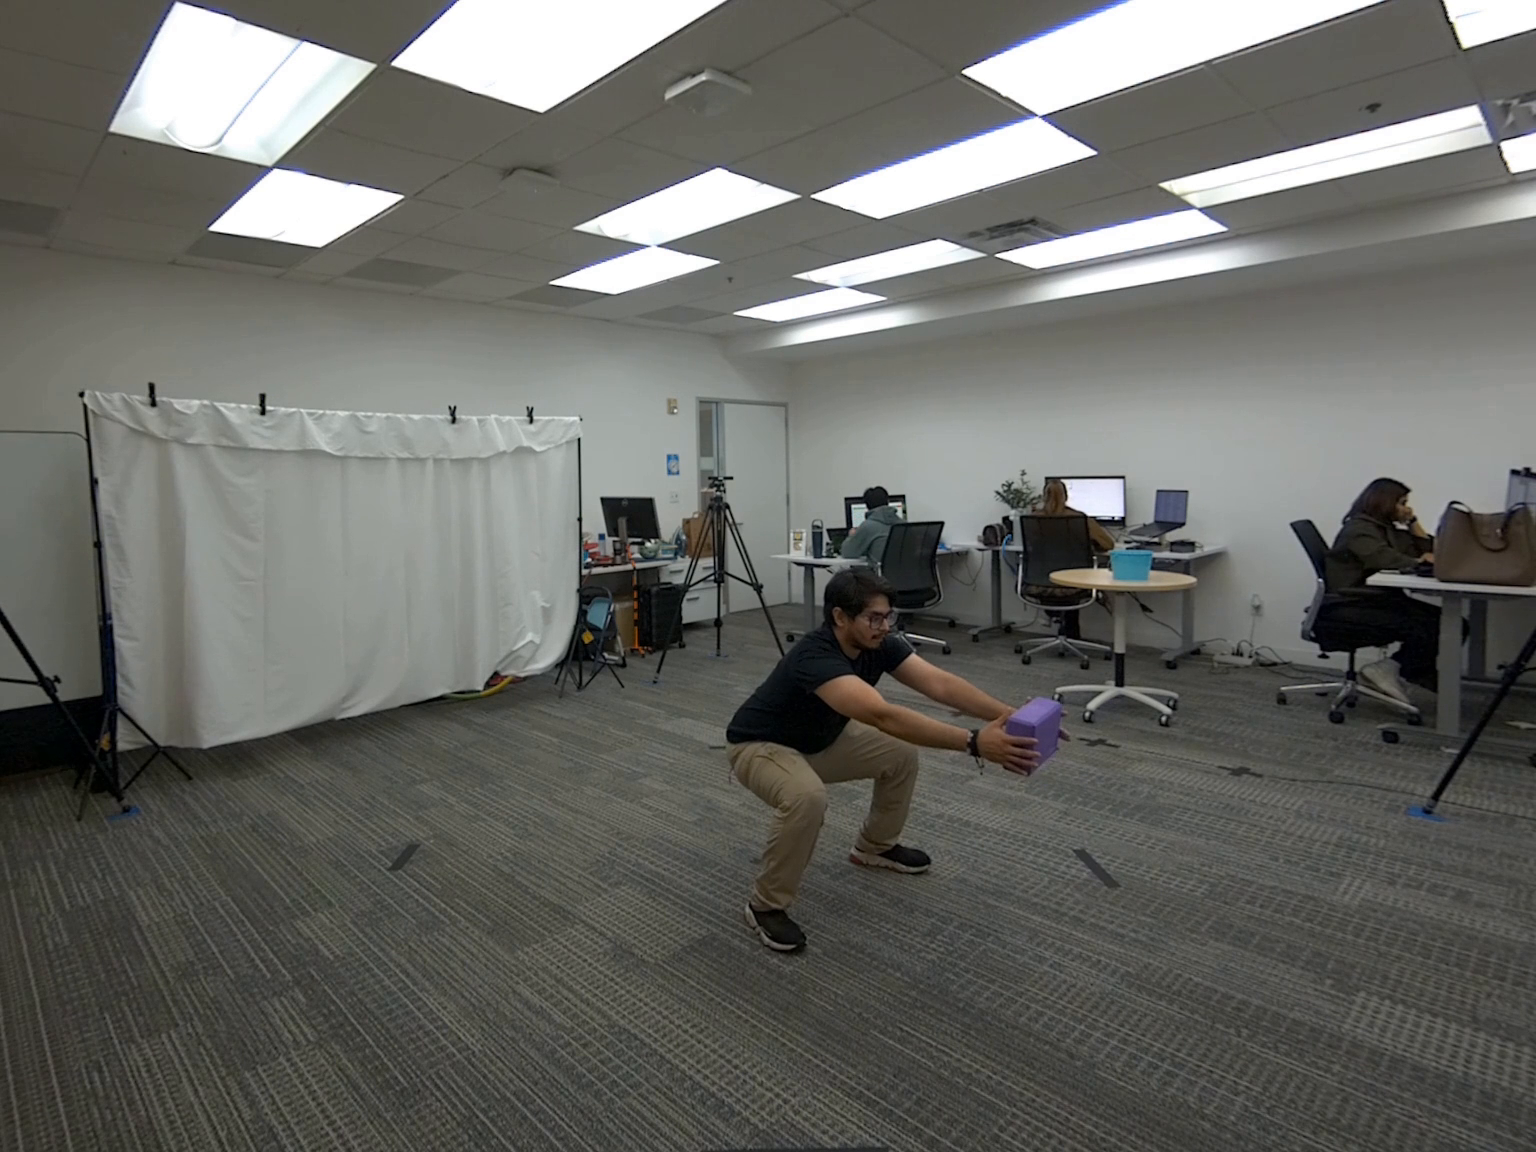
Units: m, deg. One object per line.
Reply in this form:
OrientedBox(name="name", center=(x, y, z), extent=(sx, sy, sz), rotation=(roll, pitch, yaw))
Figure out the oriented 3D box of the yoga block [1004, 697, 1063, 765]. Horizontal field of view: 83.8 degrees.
OrientedBox(name="yoga block", center=(0.705, 0.428, 2.299), extent=(0.079, 0.148, 0.224), rotation=(11, 13, 37))
